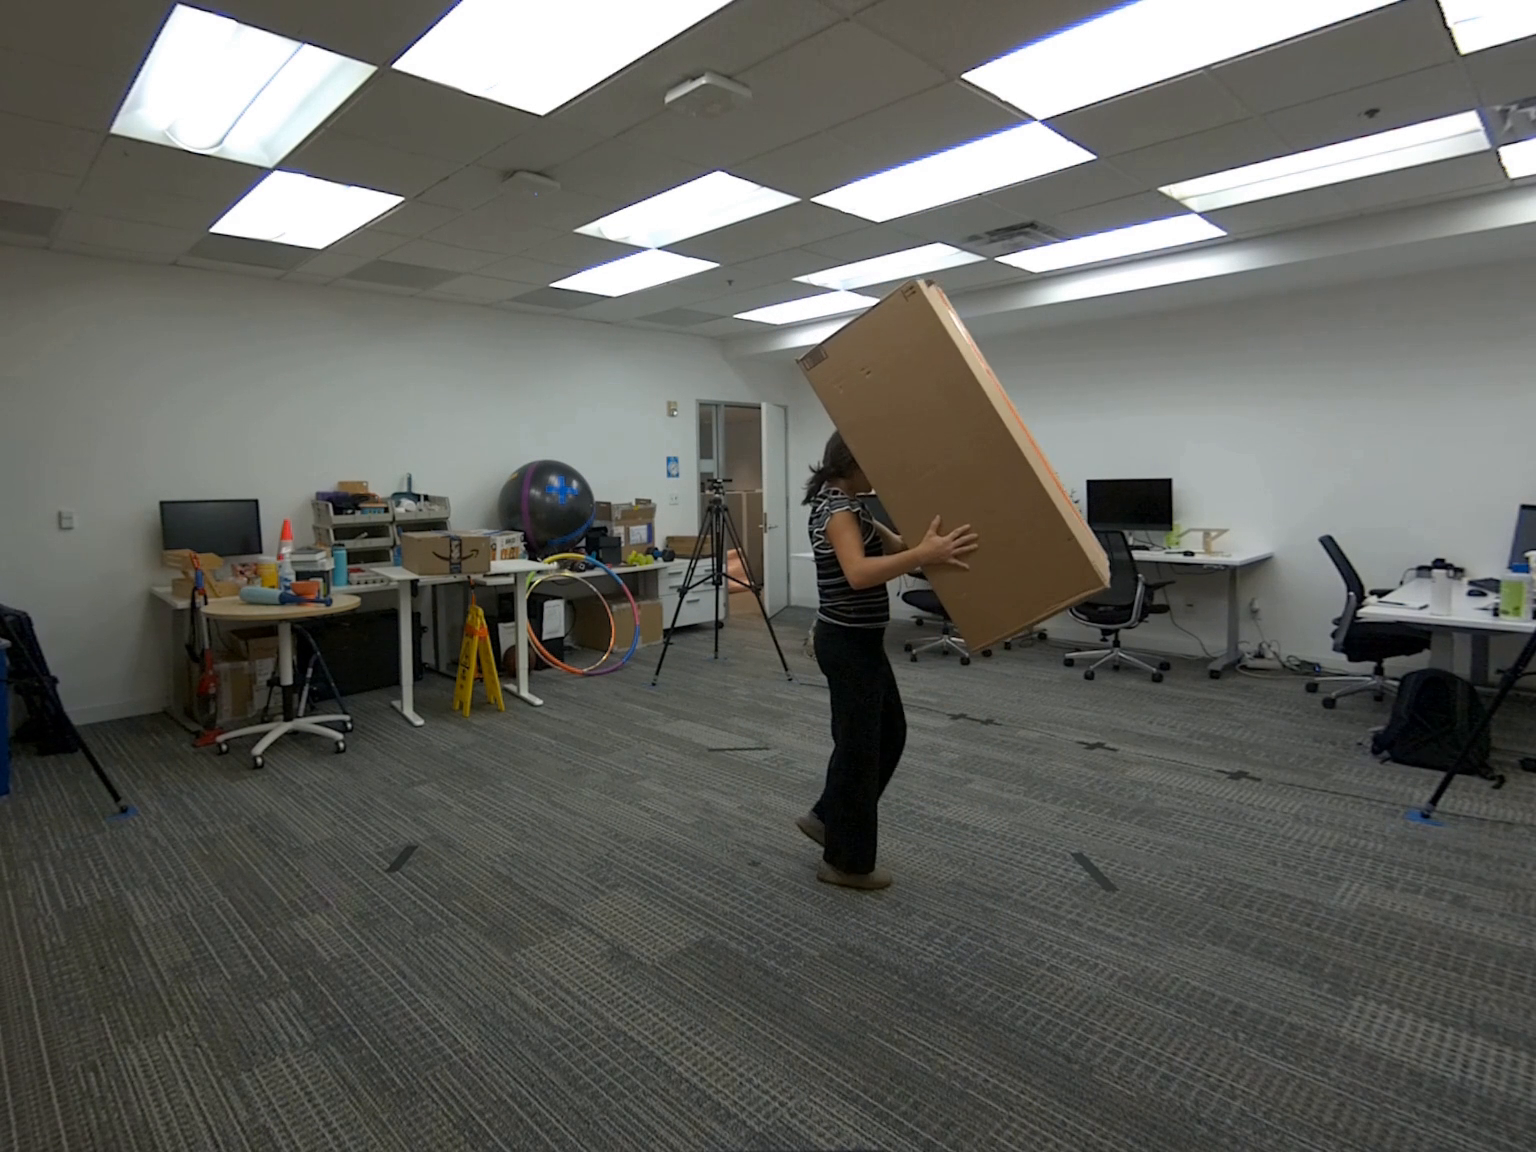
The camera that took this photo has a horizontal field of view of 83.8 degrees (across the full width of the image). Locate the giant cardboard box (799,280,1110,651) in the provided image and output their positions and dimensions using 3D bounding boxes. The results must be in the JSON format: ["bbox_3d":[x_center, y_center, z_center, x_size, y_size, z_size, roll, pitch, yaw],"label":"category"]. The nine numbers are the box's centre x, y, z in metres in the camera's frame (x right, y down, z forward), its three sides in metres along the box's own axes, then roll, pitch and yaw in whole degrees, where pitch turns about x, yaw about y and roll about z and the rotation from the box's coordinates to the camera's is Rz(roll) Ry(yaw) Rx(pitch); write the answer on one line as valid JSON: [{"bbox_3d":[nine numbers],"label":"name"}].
[{"bbox_3d":[0.604,-0.359,2.710,0.429,1.032,0.570,-32,-5,24],"label":"giant cardboard box"}]
